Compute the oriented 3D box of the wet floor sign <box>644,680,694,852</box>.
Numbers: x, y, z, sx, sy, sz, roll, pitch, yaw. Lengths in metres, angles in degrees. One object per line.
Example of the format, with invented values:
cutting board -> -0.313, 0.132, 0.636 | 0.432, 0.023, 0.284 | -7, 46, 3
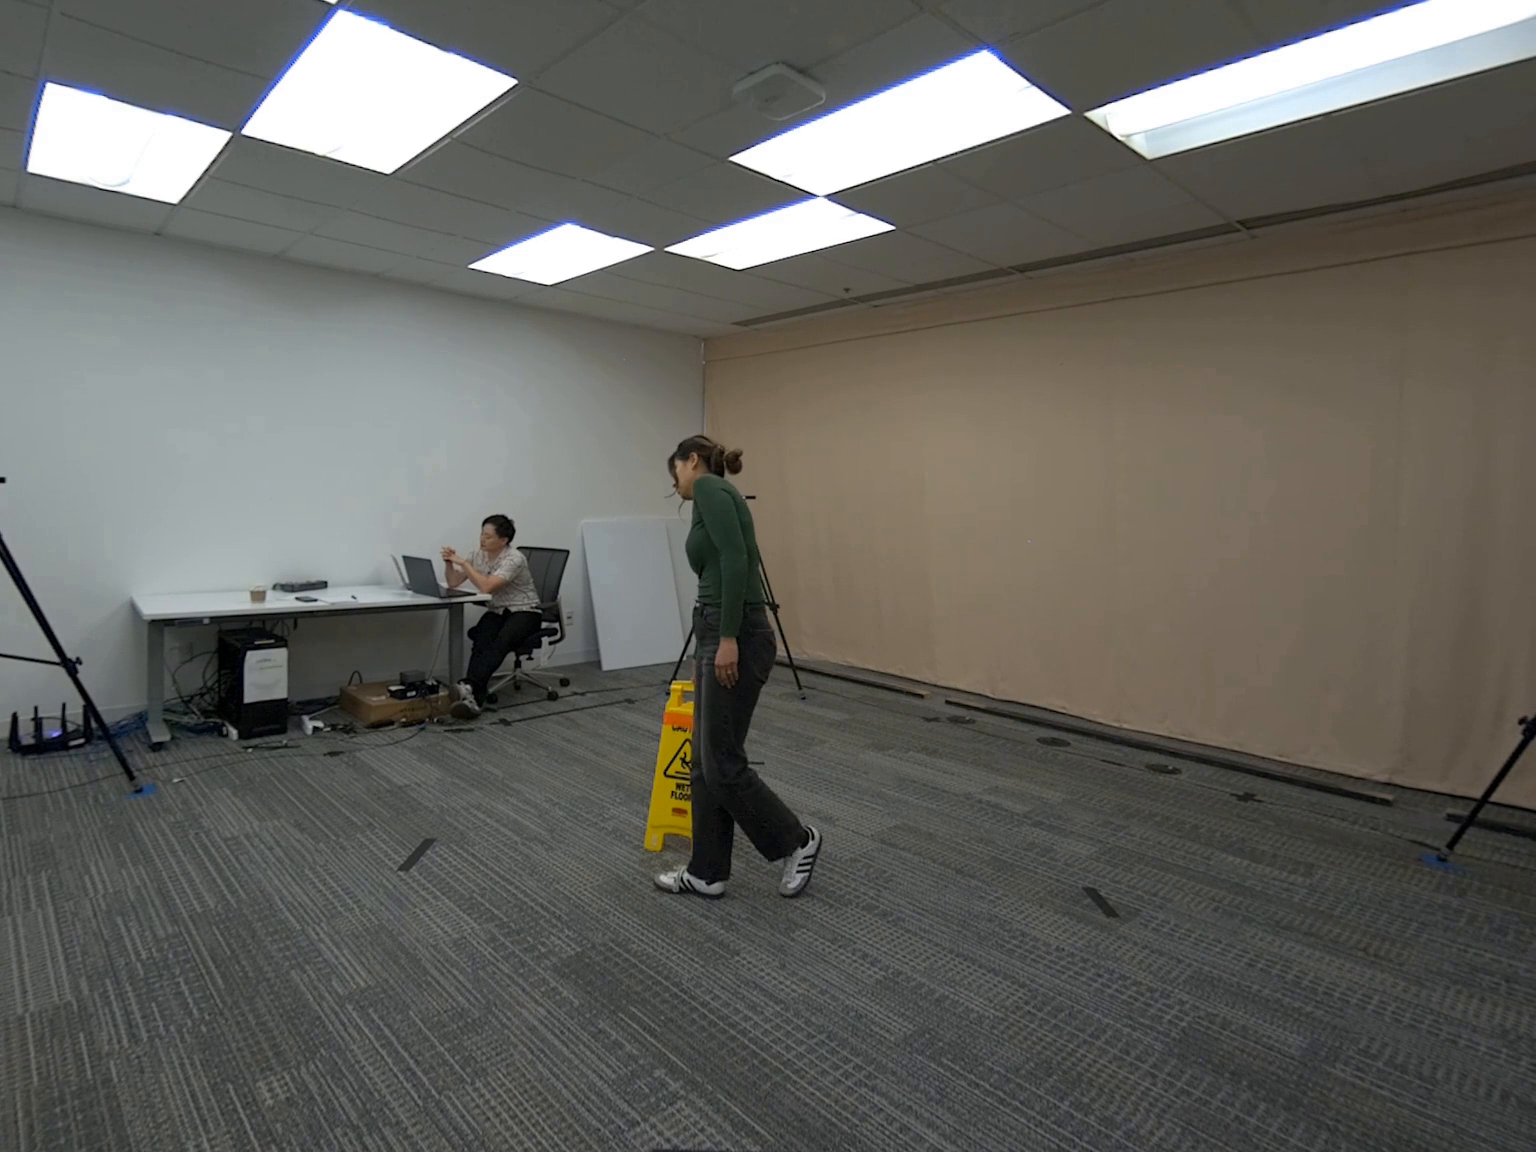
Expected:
wet floor sign -> -0.315, 0.753, 3.388 | 0.287, 0.645, 0.285 | 1, 3, 21
